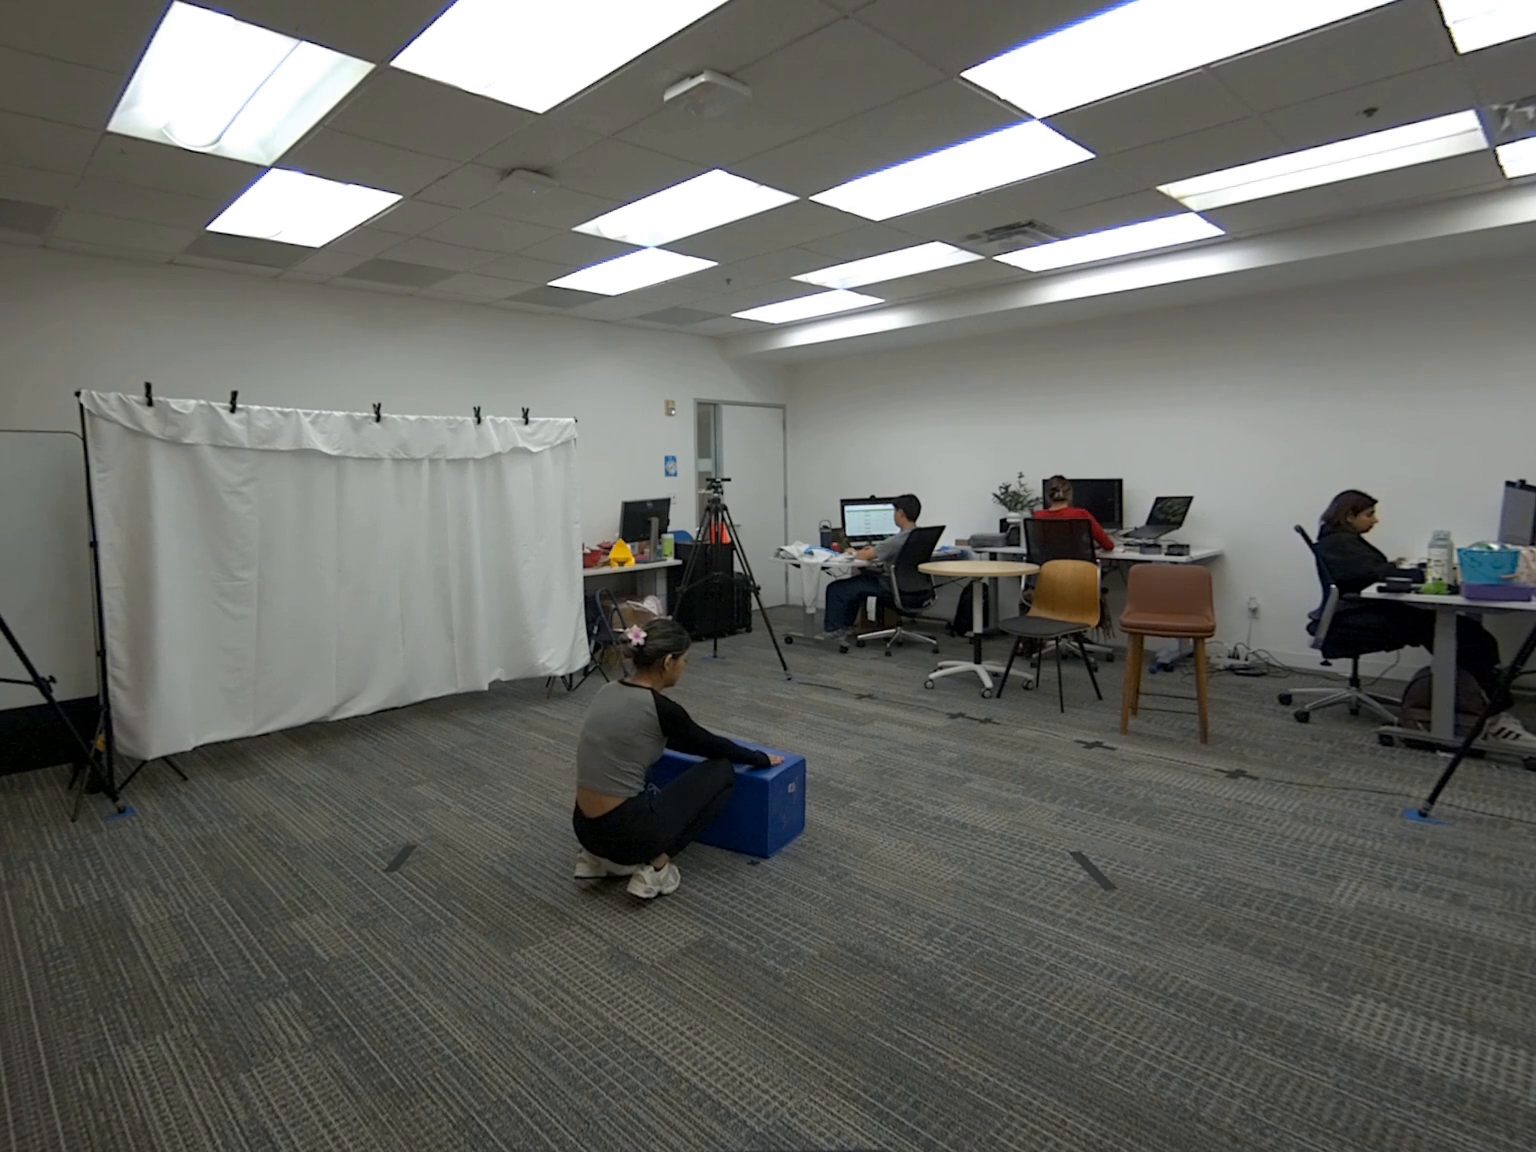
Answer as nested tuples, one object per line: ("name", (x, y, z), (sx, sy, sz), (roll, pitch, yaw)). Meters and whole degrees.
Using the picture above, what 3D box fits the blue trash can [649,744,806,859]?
("blue trash can", (-0.235, 0.840, 3.424), (0.734, 0.376, 0.365), (5, 6, 32))
